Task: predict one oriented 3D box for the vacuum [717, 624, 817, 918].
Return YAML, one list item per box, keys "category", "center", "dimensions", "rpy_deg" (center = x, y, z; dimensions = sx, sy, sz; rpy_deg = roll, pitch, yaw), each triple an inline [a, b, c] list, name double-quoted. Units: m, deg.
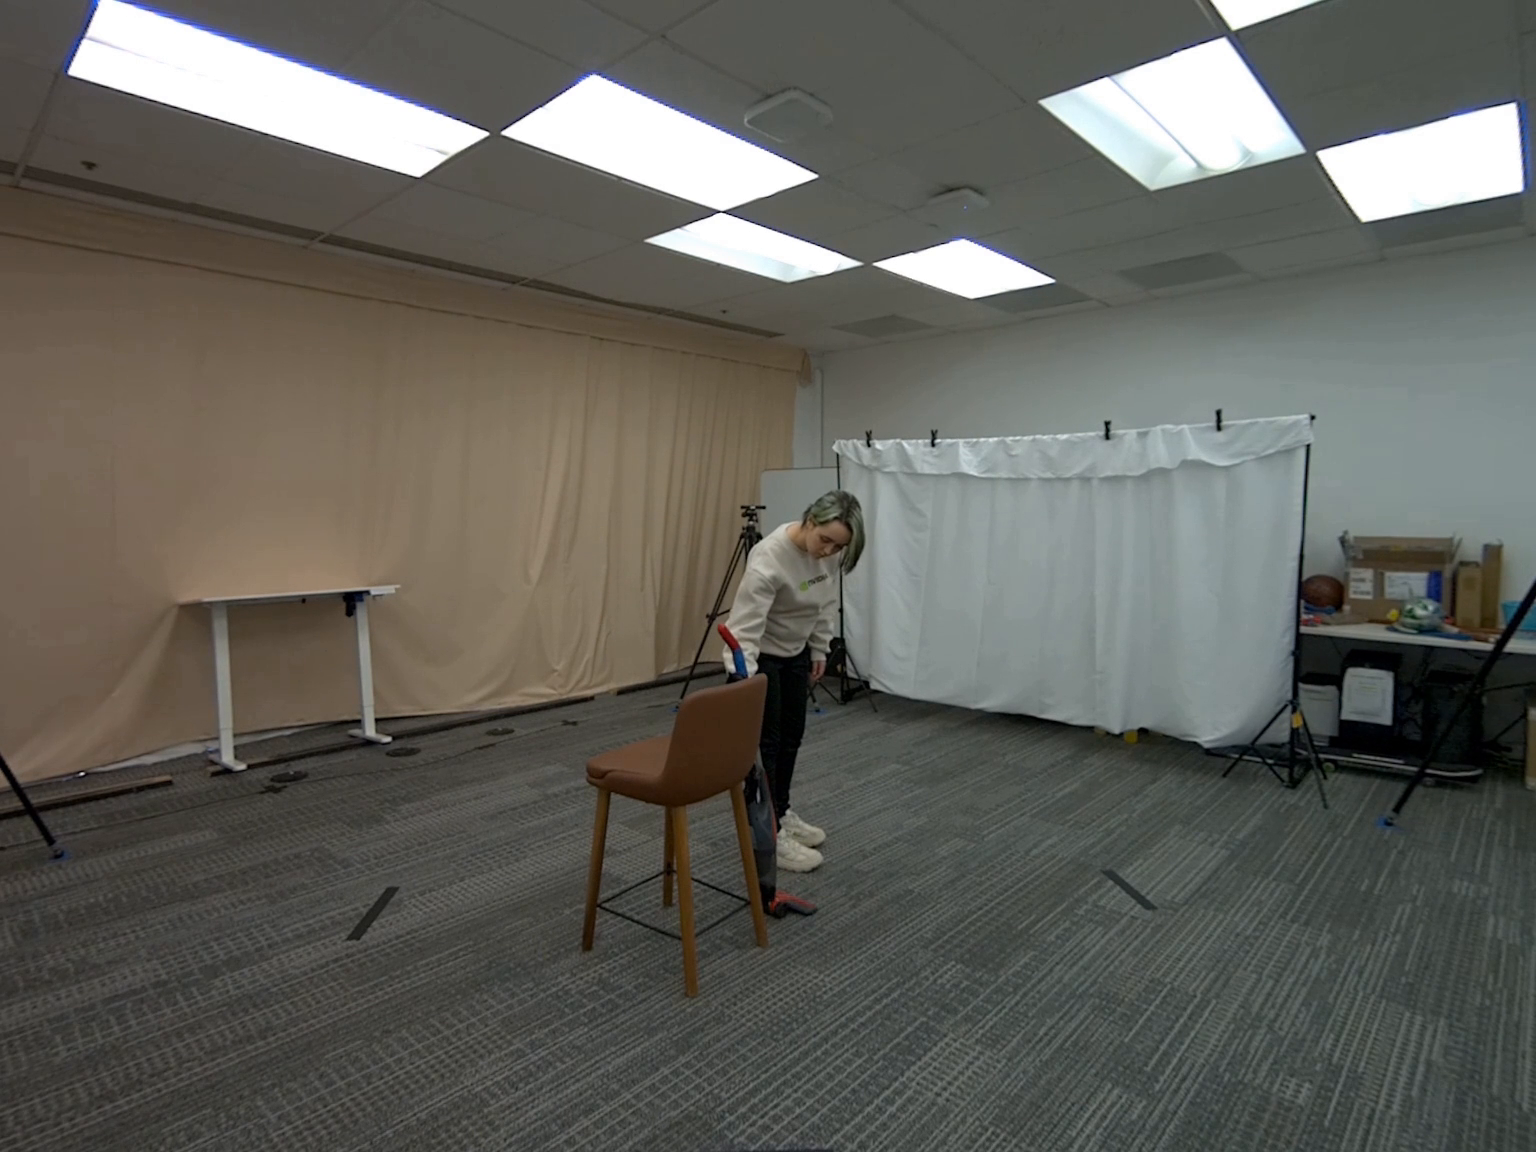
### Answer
- category: "vacuum"
  center: [-0.060, 0.656, 2.801]
  dimensions: [0.141, 1.037, 0.261]
  rpy_deg: [-23, 19, -41]
